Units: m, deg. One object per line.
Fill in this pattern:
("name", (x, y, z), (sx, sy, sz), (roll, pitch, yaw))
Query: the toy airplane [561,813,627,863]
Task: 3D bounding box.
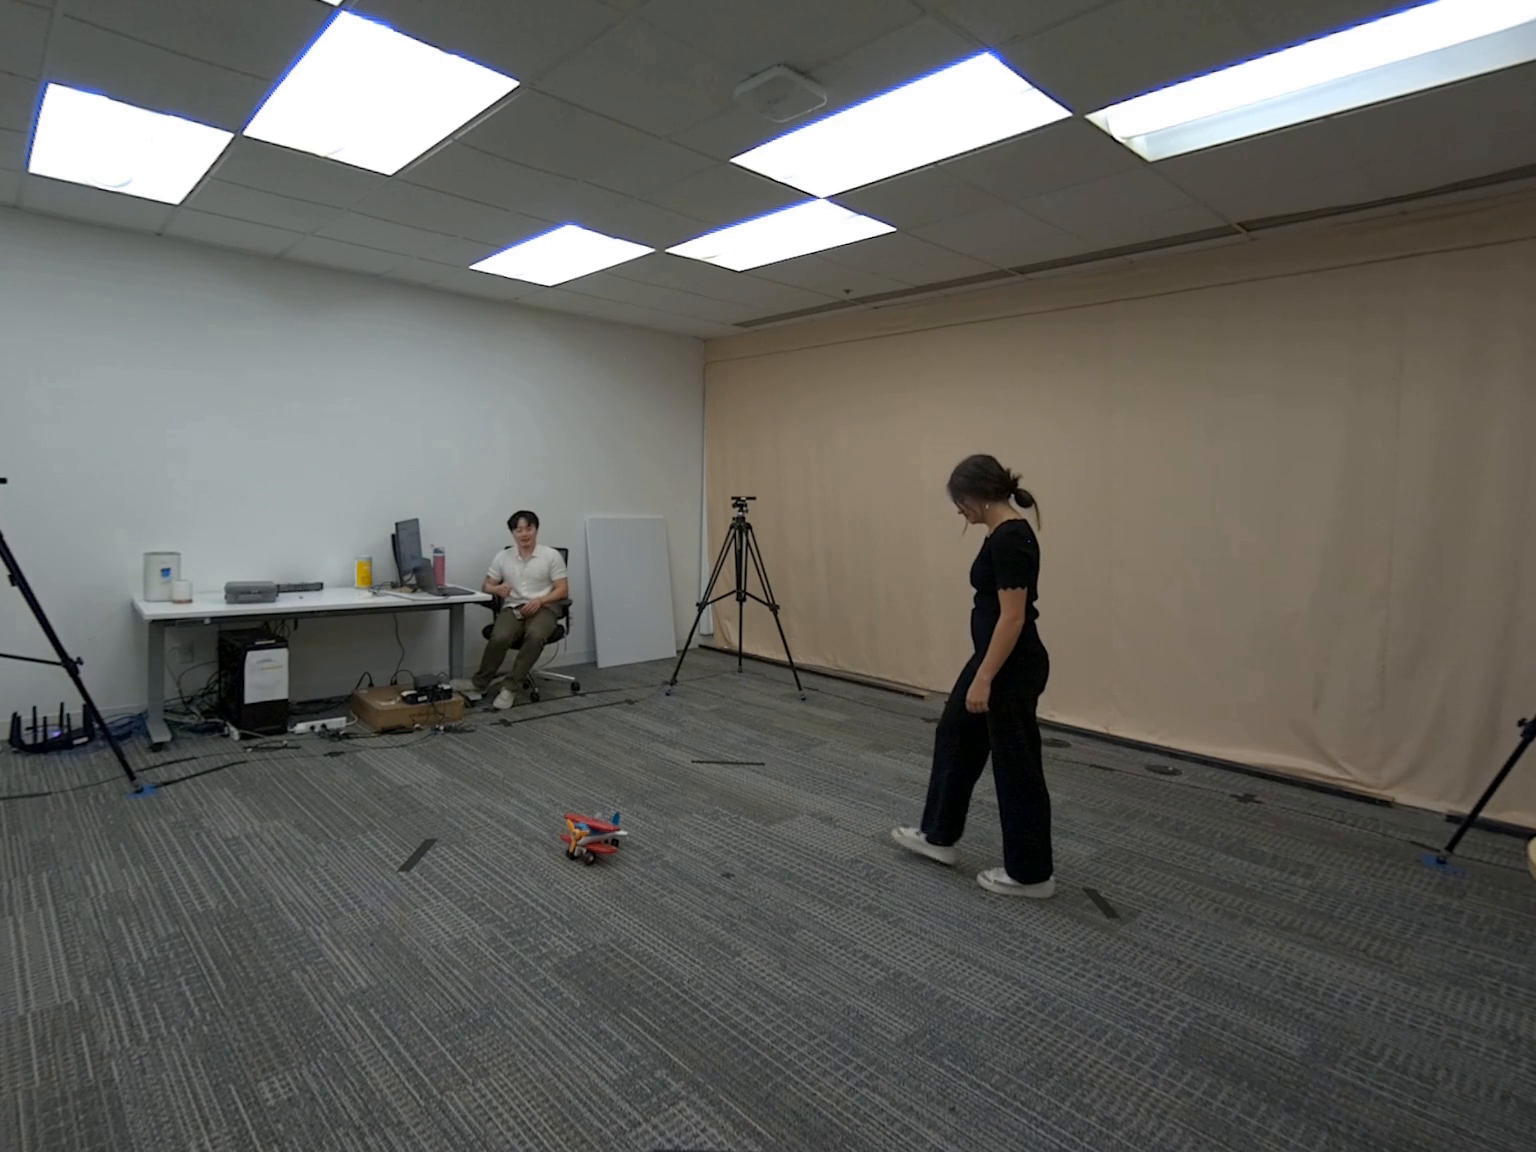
("toy airplane", (-0.688, 0.998, 3.271), (0.252, 0.156, 0.259), (2, 6, 3))
